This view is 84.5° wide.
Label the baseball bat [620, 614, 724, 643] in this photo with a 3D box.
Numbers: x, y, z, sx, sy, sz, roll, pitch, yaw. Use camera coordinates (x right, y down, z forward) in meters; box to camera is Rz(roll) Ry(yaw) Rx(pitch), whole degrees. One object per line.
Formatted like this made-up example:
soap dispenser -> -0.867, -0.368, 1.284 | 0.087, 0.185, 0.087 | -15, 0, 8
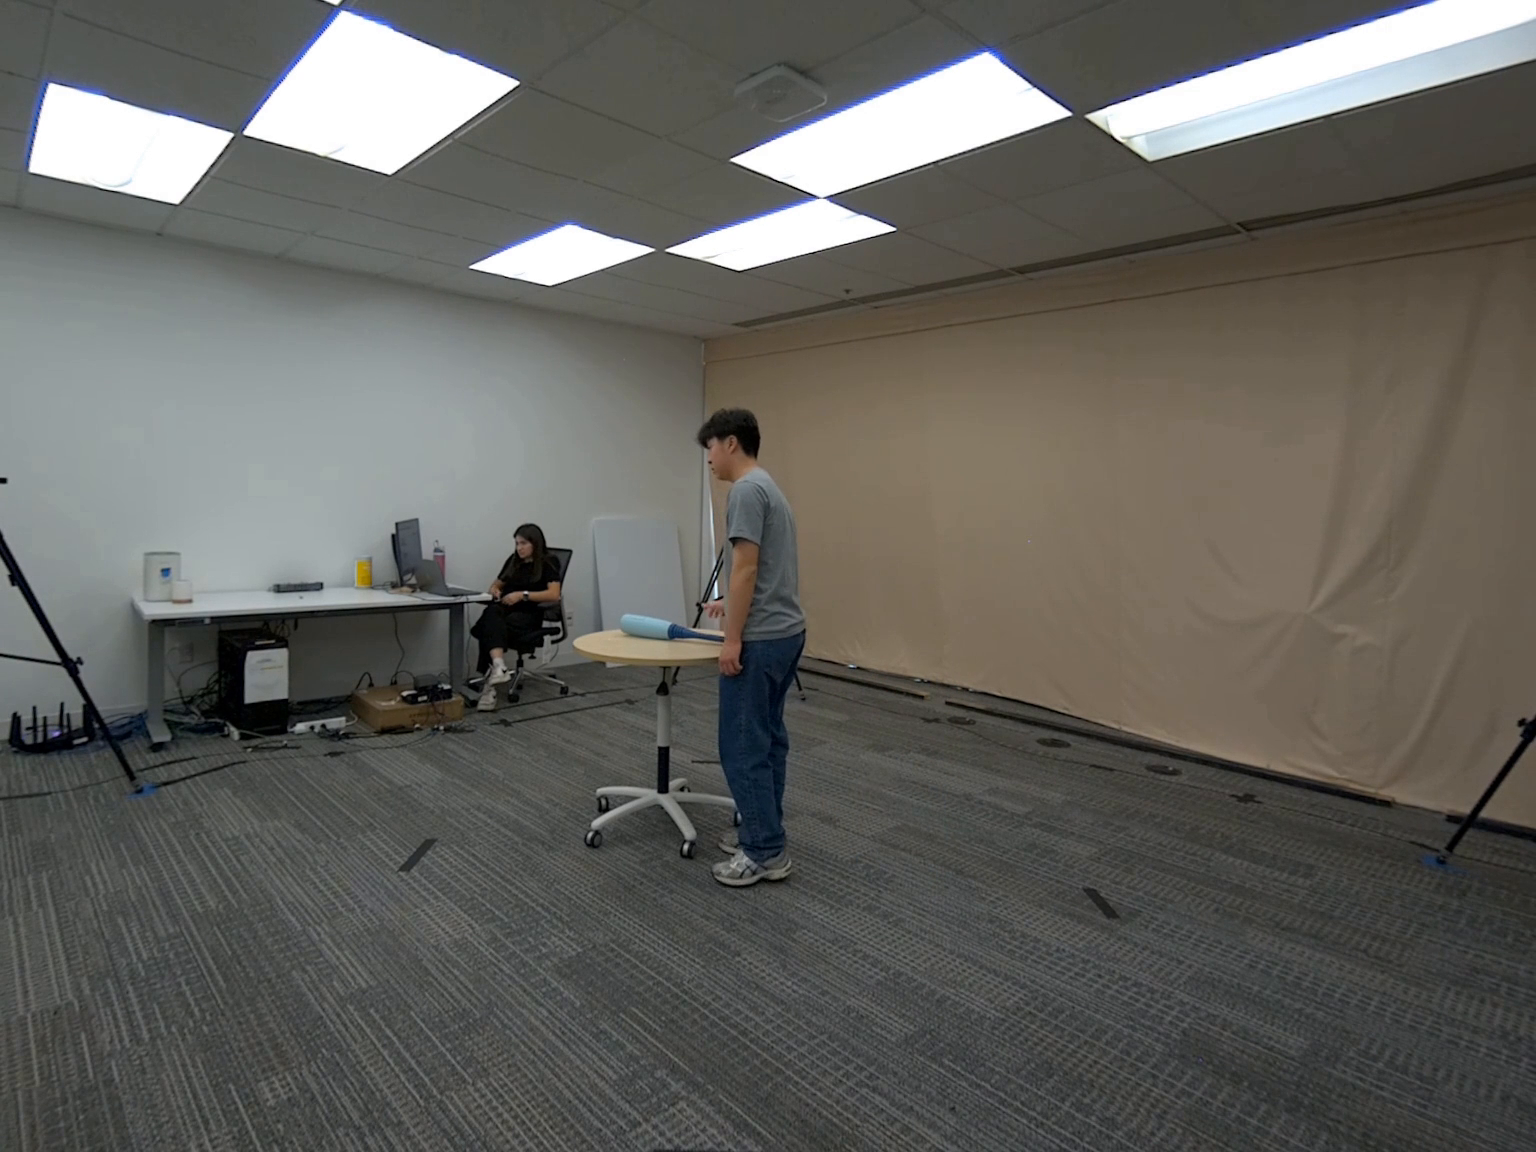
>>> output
baseball bat -> -0.396, 0.243, 3.562 | 0.554, 0.089, 0.087 | 7, 6, 26
